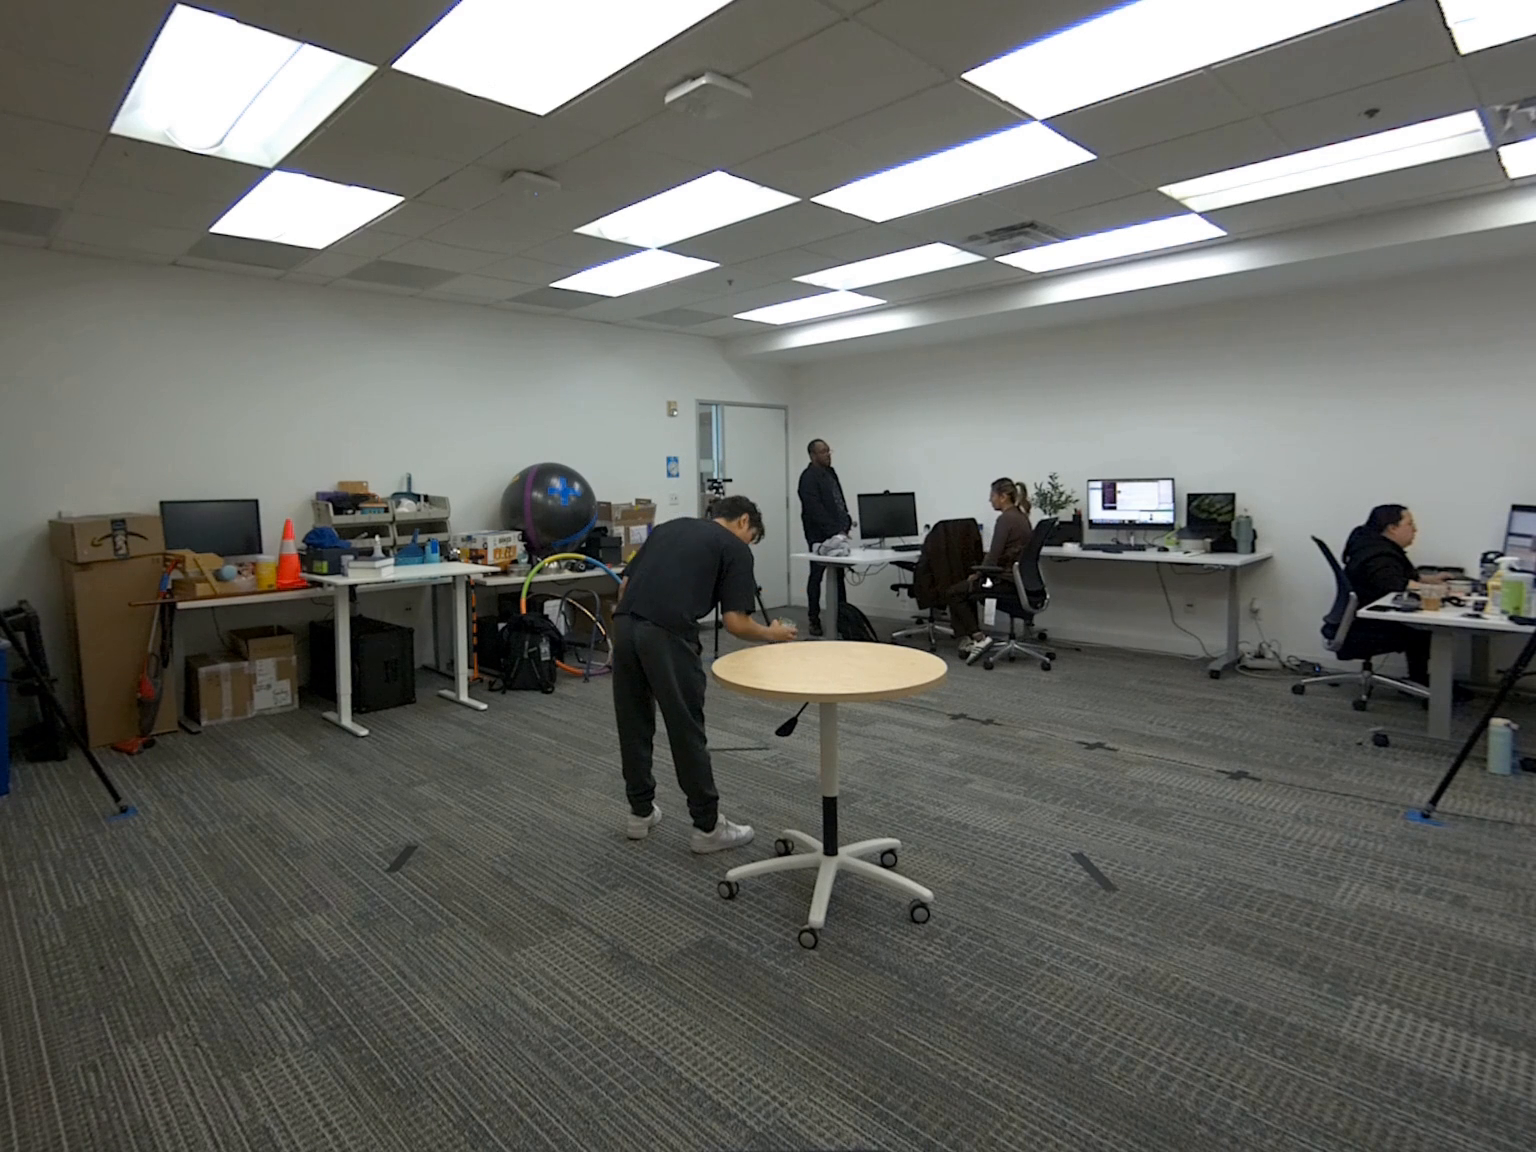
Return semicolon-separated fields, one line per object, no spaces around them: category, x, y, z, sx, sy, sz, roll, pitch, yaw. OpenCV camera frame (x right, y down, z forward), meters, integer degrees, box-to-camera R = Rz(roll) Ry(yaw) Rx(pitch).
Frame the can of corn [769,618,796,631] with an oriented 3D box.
can of corn;0.060;0.219;3.447;0.074;0.111;0.074;16;3;-3
